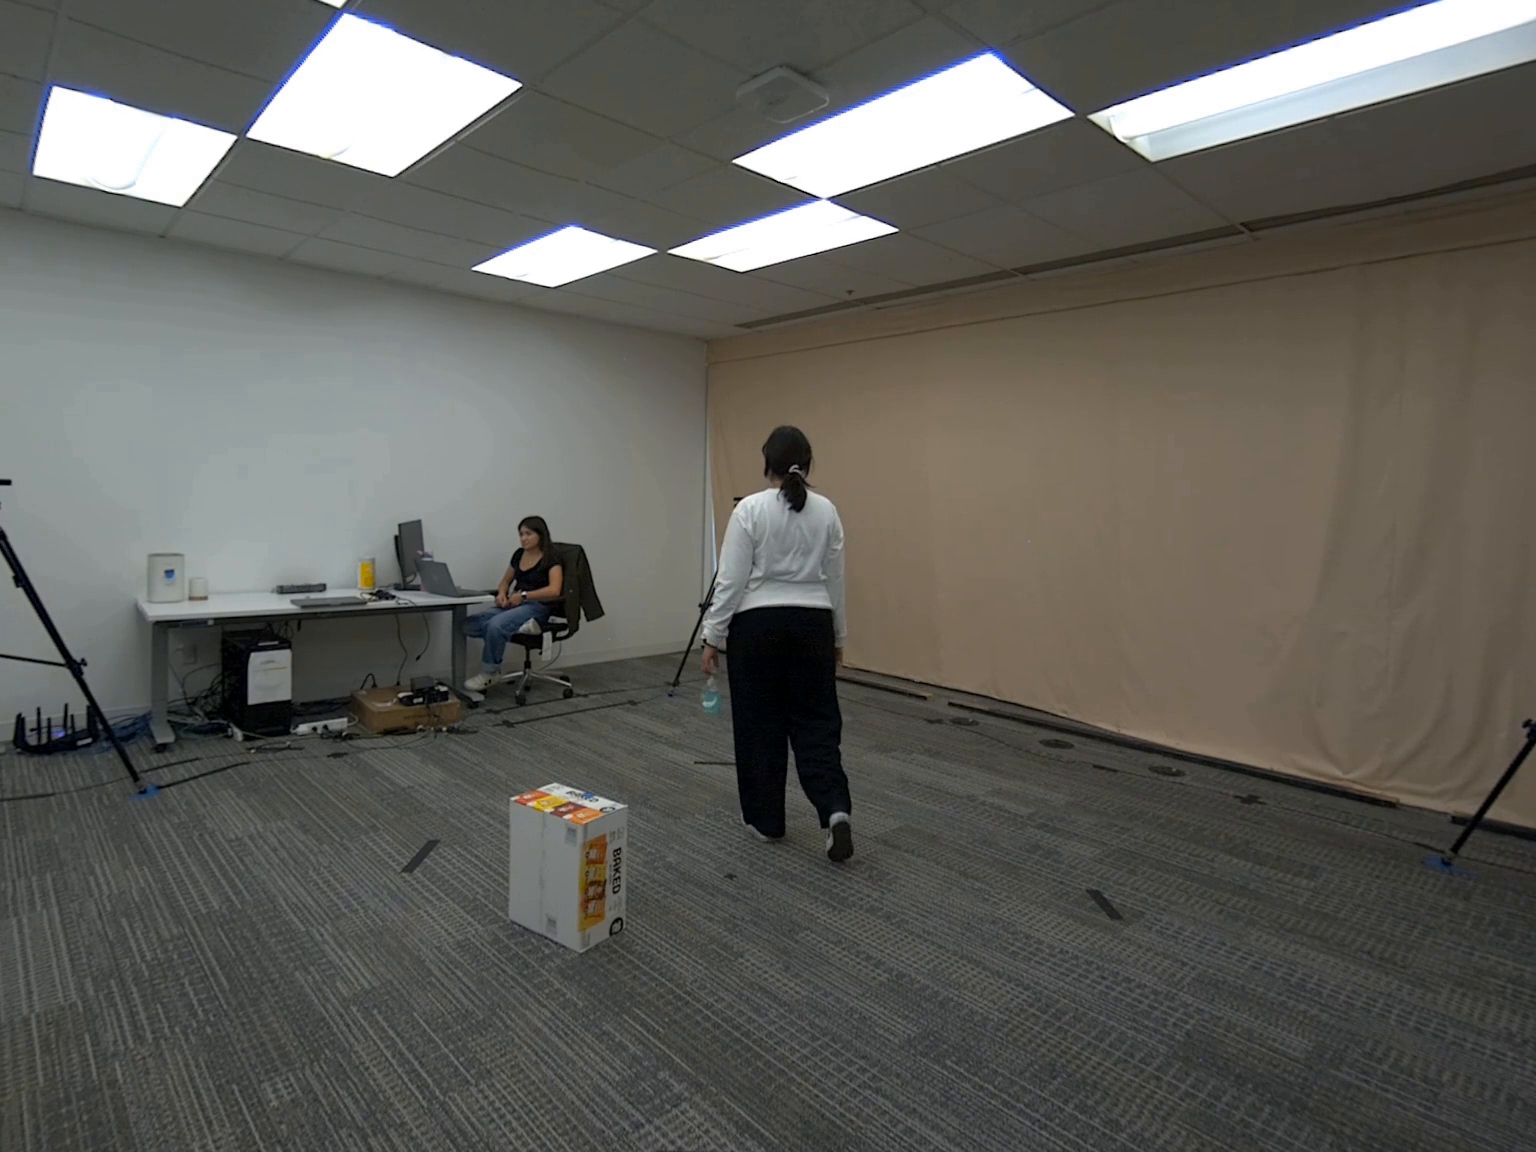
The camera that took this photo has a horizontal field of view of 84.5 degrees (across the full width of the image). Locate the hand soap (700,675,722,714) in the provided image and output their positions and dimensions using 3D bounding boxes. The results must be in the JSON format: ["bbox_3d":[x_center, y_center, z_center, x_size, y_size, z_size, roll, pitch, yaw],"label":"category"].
[{"bbox_3d":[-0.223,0.469,3.382,0.086,0.168,0.043,8,-2,14],"label":"hand soap"}]
